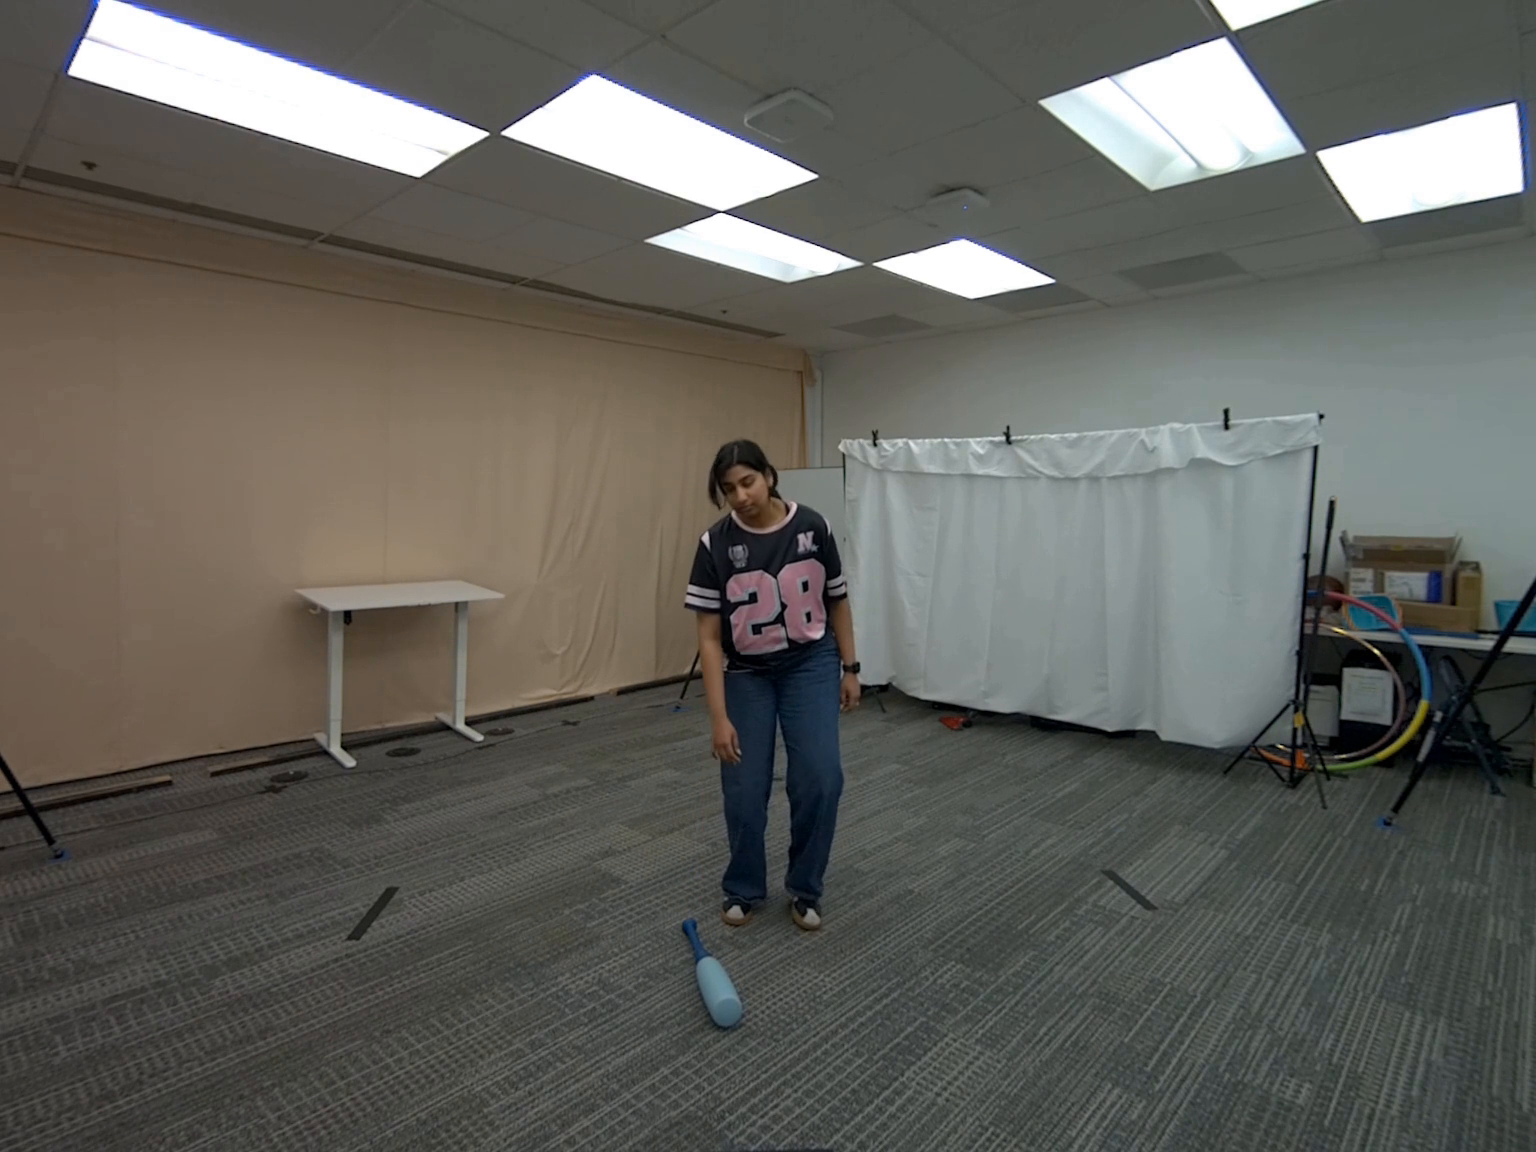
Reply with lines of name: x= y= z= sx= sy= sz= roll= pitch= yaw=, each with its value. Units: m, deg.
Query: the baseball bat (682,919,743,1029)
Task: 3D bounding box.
baseball bat: x=-0.179 y=1.153 z=2.481 sx=0.088 sy=0.089 sz=0.551 roll=-1 pitch=2 yaw=-15
